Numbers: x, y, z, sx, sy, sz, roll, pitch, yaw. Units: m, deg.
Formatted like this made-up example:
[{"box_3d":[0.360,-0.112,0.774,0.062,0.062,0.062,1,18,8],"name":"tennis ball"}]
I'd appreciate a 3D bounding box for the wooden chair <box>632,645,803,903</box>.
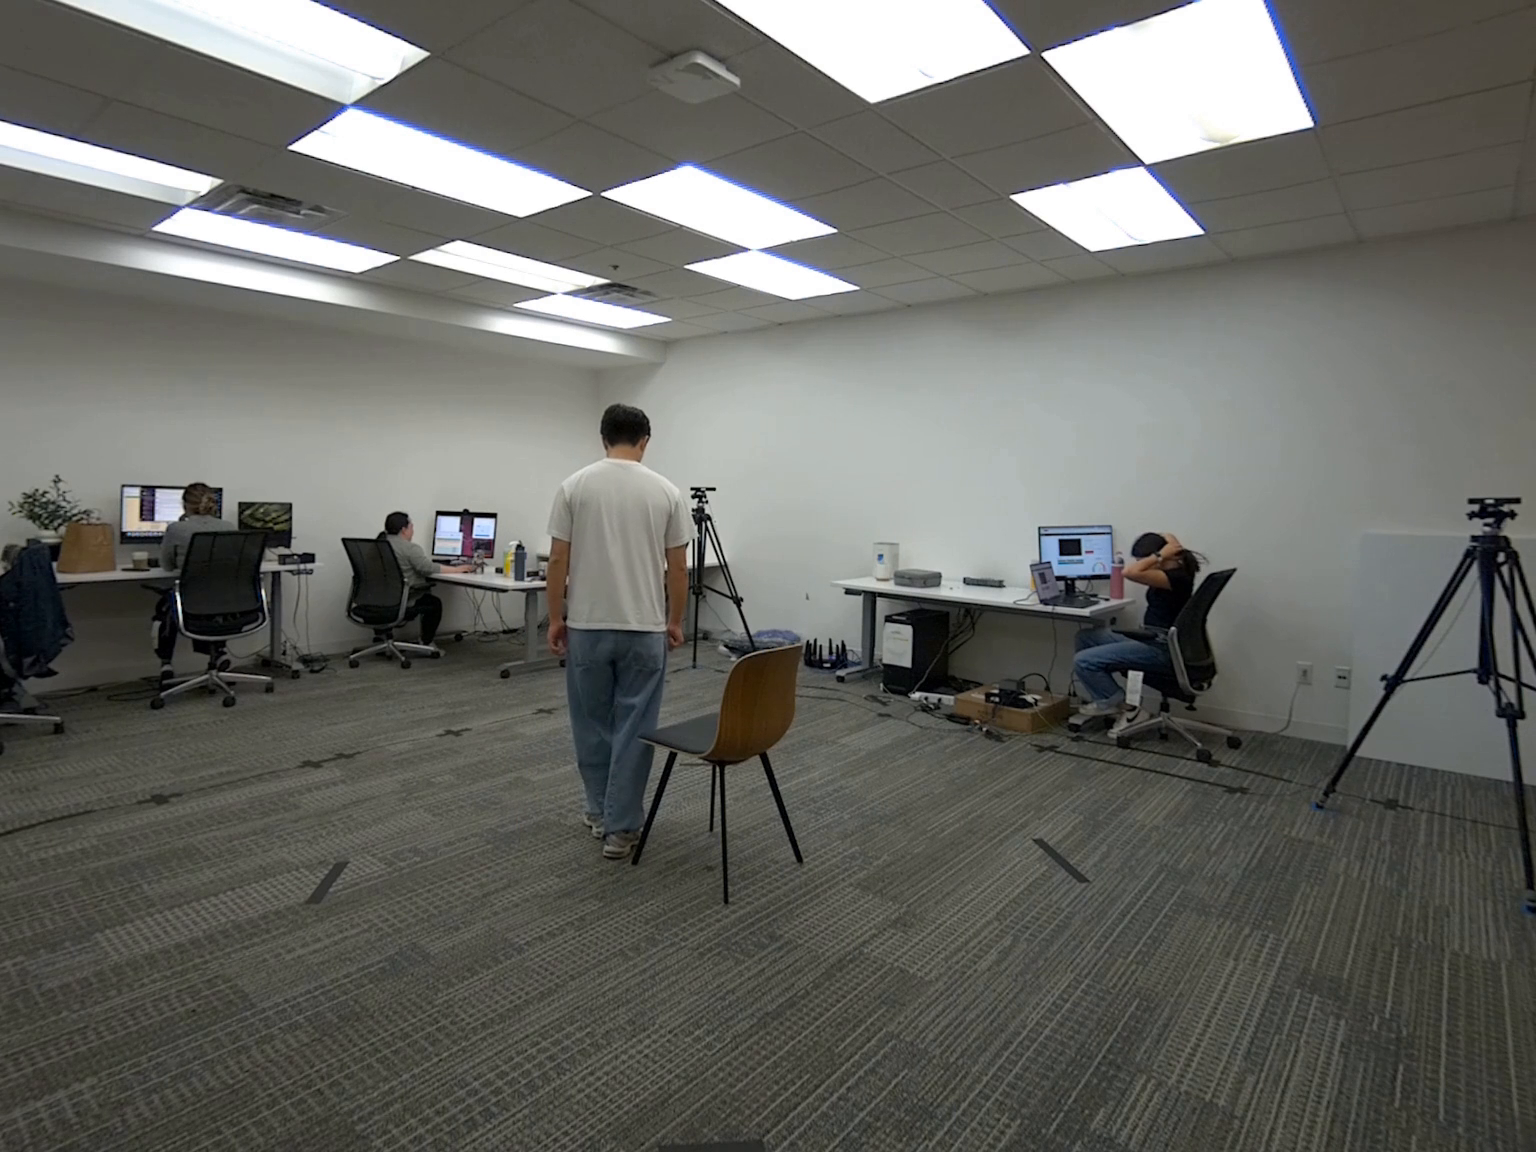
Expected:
[{"box_3d":[-0.187,0.639,3.128,0.542,0.873,0.464,9,7,38],"name":"wooden chair"}]
